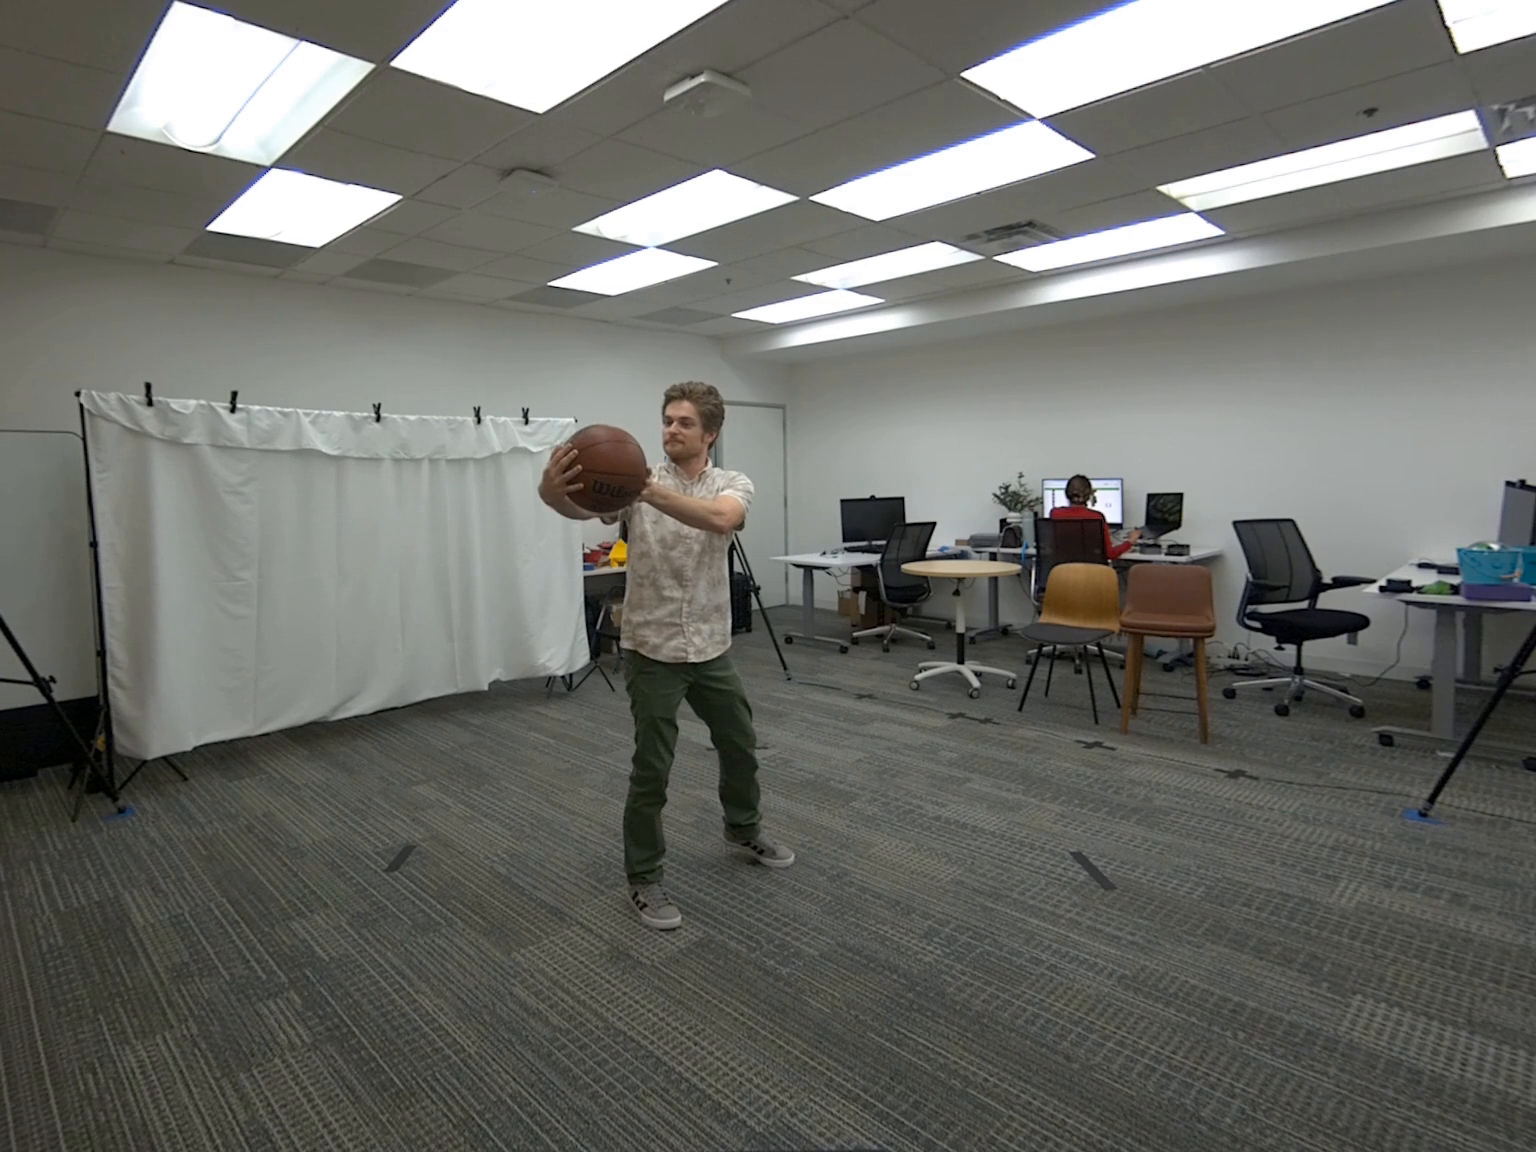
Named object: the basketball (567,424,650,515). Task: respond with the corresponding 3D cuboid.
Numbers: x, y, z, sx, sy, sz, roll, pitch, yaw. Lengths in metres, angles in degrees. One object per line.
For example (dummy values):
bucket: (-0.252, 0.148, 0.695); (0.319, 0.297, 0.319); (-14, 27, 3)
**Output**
basketball: (-0.438, -0.289, 2.294); (0.236, 0.235, 0.237); (-1, 5, -2)
